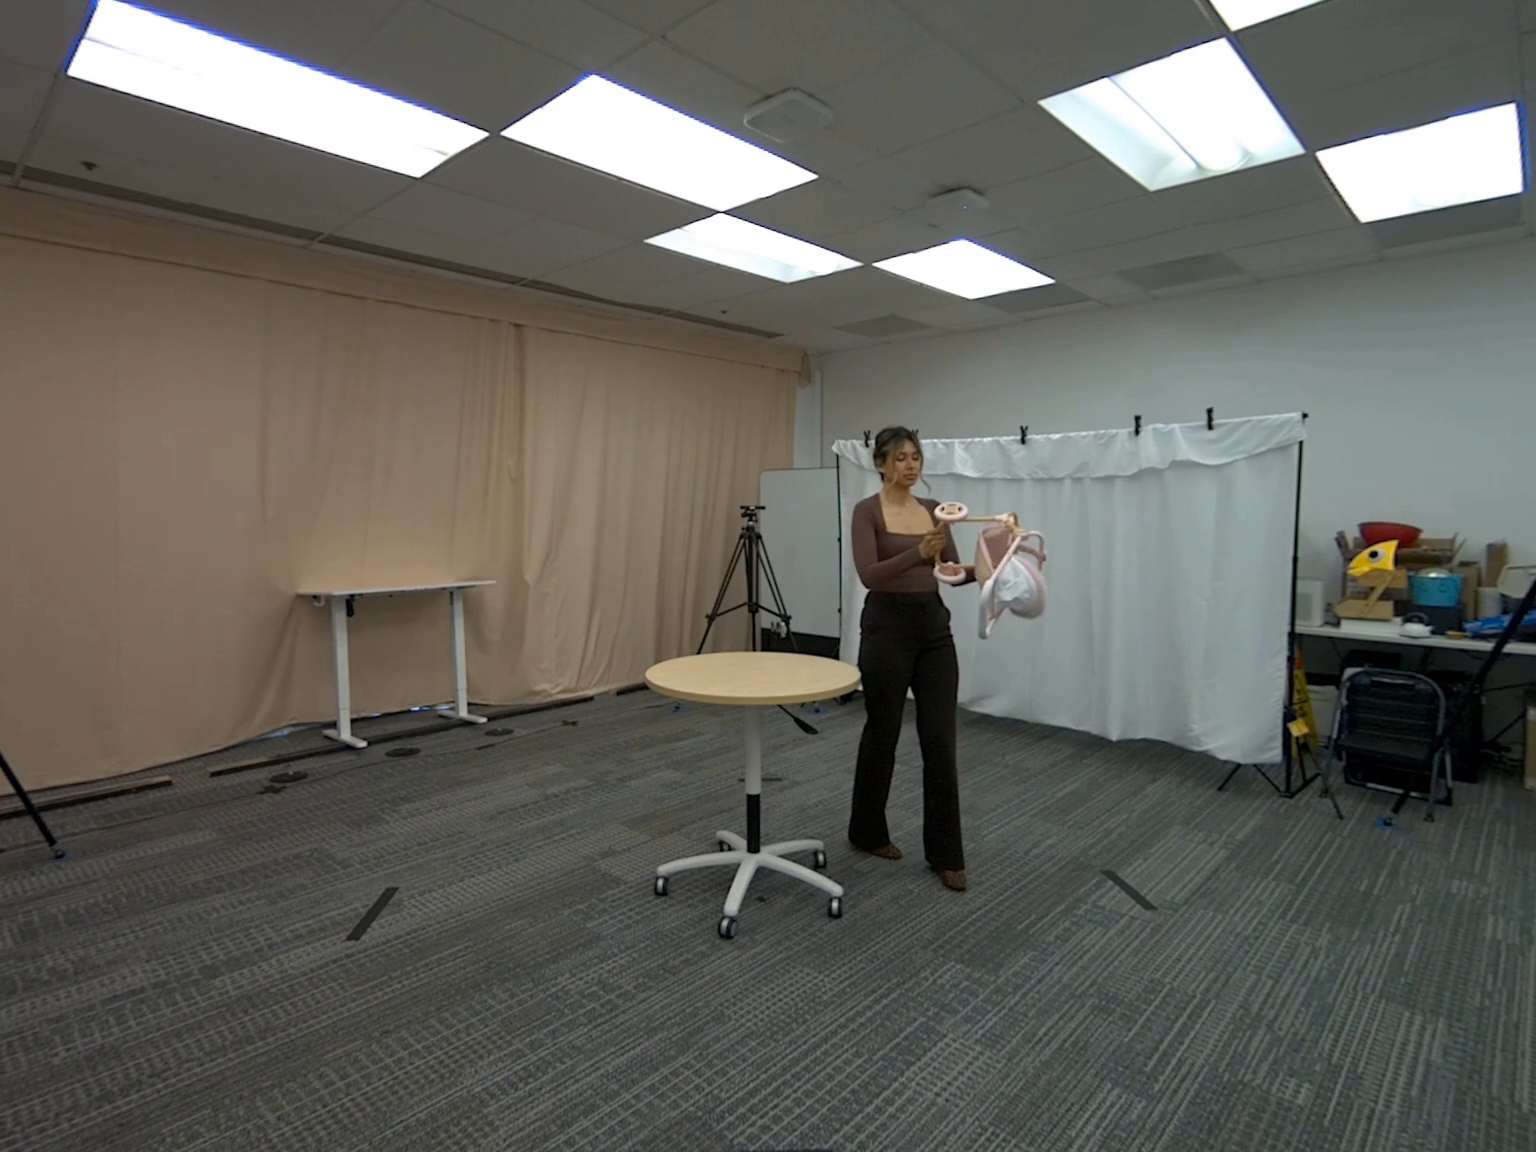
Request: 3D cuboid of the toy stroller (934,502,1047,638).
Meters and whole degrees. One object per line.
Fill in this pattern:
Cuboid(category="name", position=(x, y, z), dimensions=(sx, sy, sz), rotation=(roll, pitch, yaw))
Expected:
Cuboid(category="toy stroller", position=(0.768, -0.036, 2.773), dimensions=(0.339, 0.276, 0.548), rotation=(-6, 33, -6))
